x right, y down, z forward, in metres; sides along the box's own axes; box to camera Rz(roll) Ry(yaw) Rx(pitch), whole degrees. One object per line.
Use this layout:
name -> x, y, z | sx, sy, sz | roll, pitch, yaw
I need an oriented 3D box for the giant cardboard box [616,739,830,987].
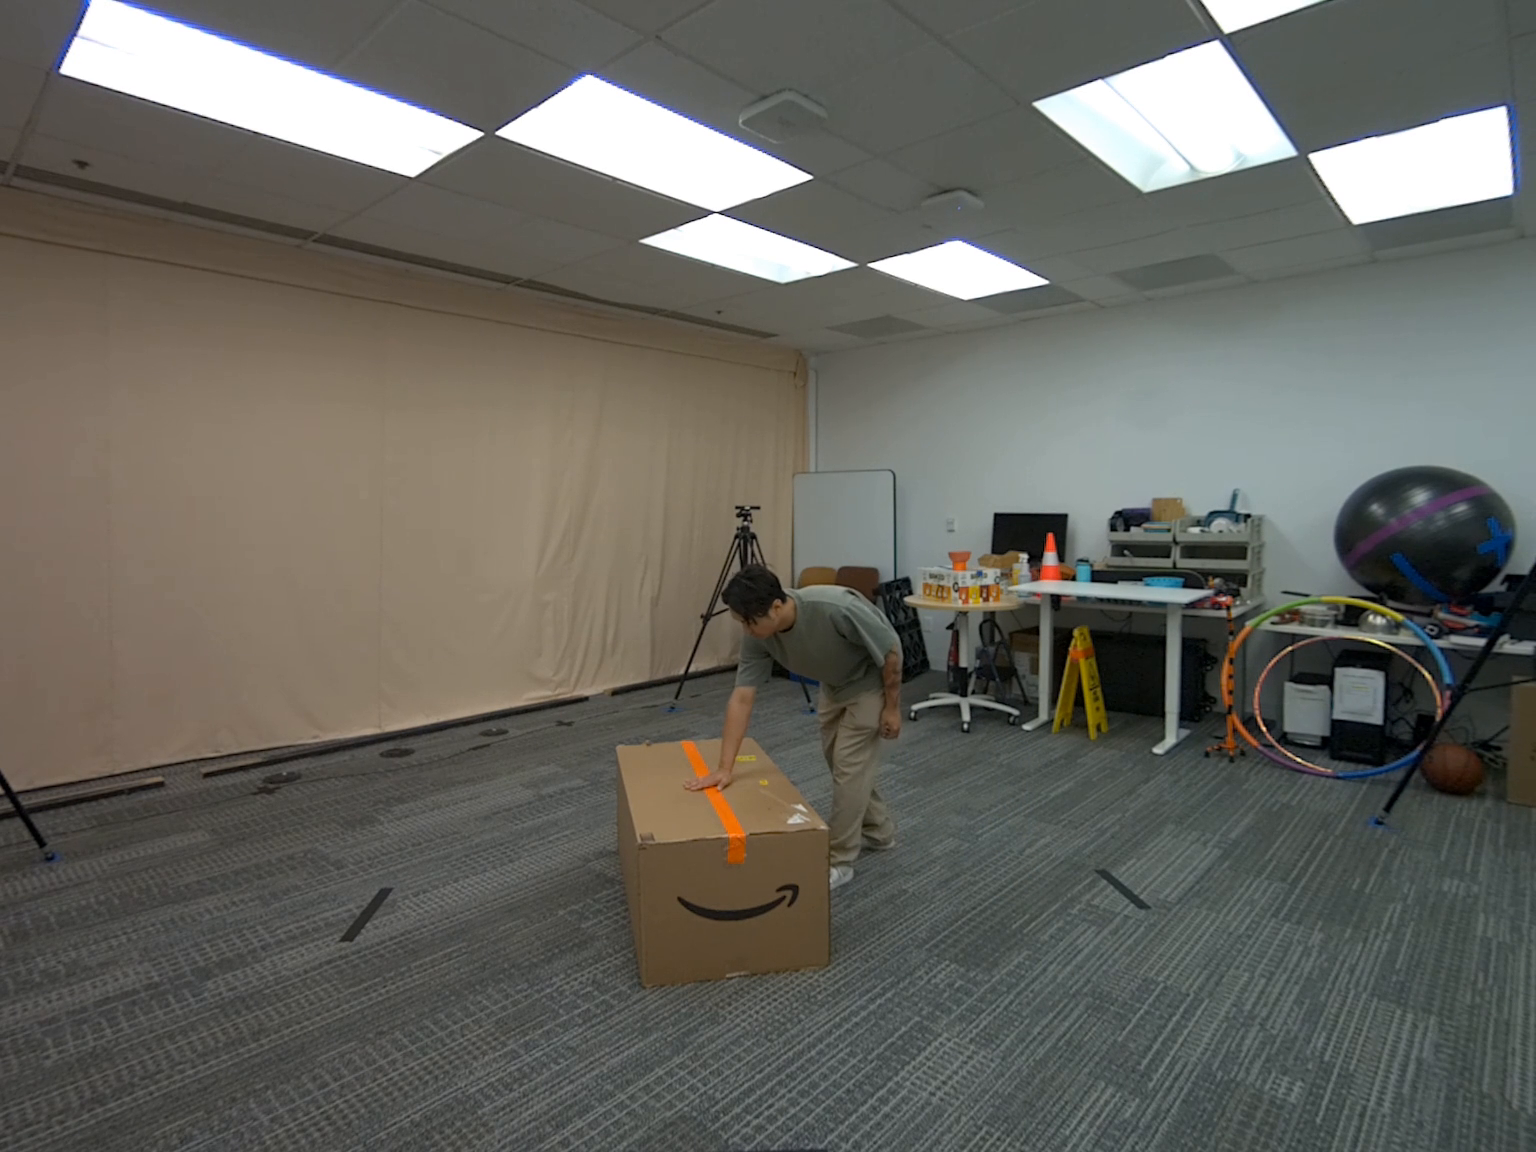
giant cardboard box -> -0.215, 0.929, 2.973 | 0.570, 0.425, 1.041 | -1, 4, -13
